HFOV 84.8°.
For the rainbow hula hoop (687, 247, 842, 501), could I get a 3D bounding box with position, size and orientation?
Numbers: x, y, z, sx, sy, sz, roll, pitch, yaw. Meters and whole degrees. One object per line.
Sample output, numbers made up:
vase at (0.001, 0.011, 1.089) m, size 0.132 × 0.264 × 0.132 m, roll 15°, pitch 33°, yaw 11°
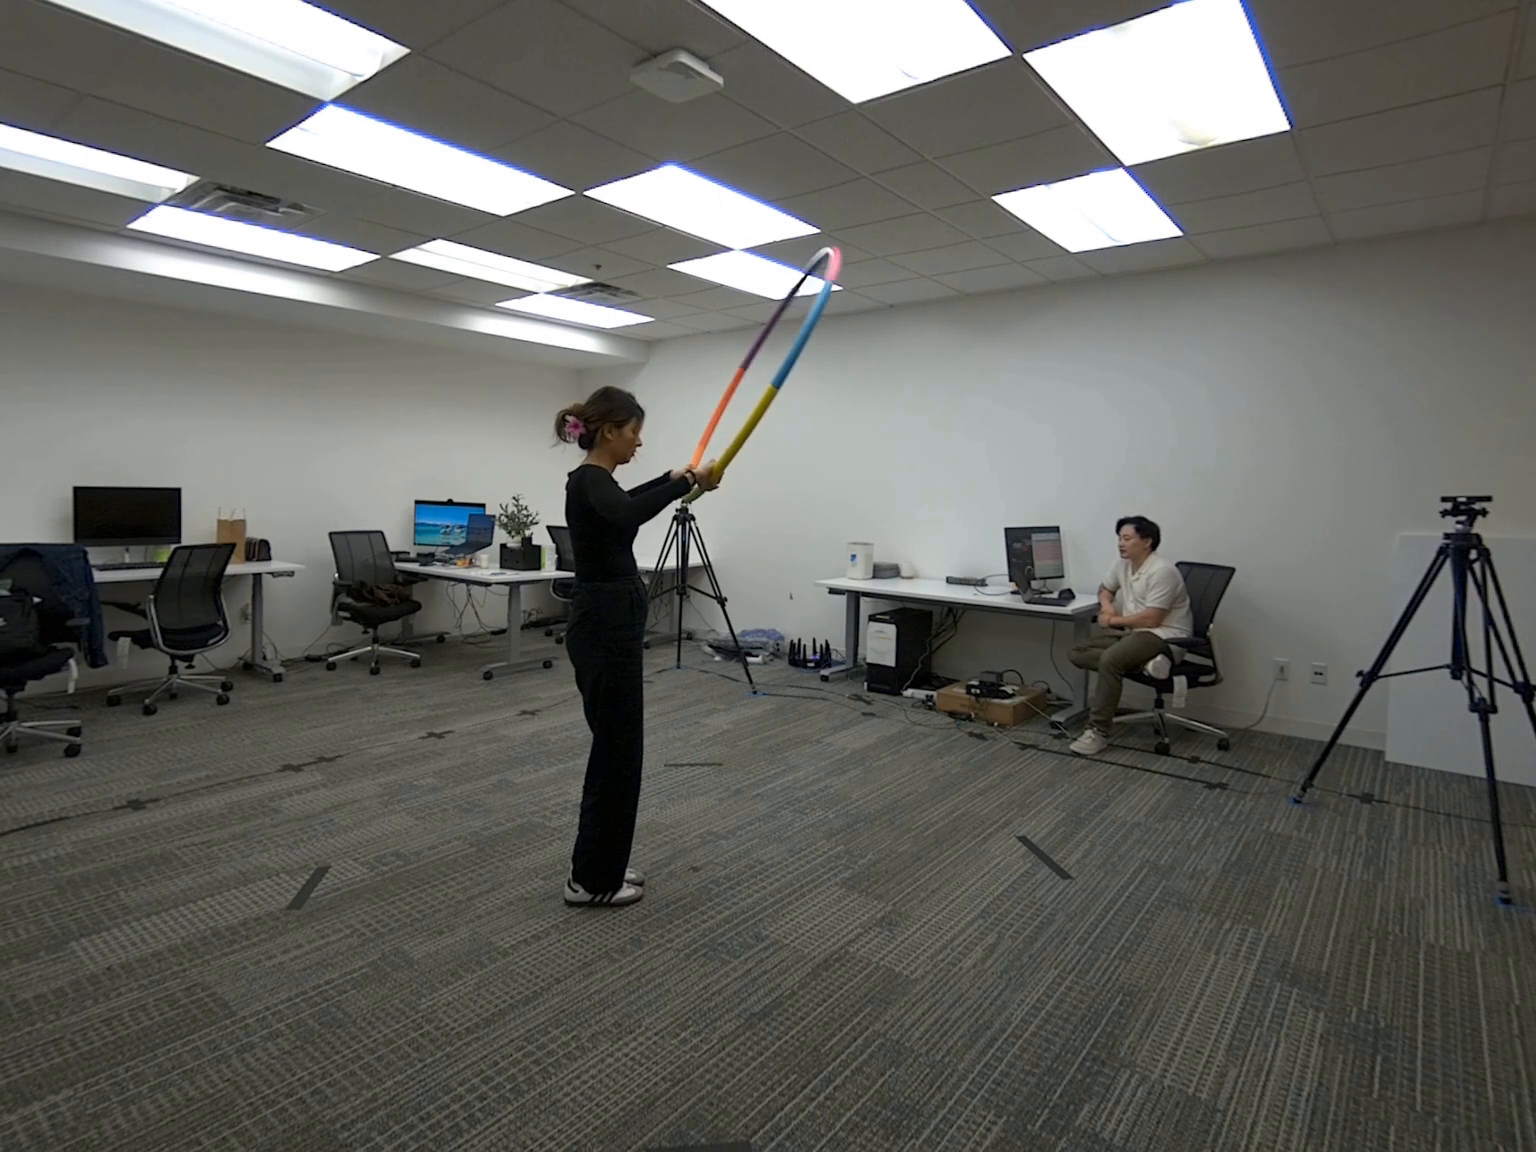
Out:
rainbow hula hoop at (-0.058, -0.671, 2.913) m, size 0.035 × 0.979 × 0.995 m, roll 31°, pitch -3°, yaw -15°
